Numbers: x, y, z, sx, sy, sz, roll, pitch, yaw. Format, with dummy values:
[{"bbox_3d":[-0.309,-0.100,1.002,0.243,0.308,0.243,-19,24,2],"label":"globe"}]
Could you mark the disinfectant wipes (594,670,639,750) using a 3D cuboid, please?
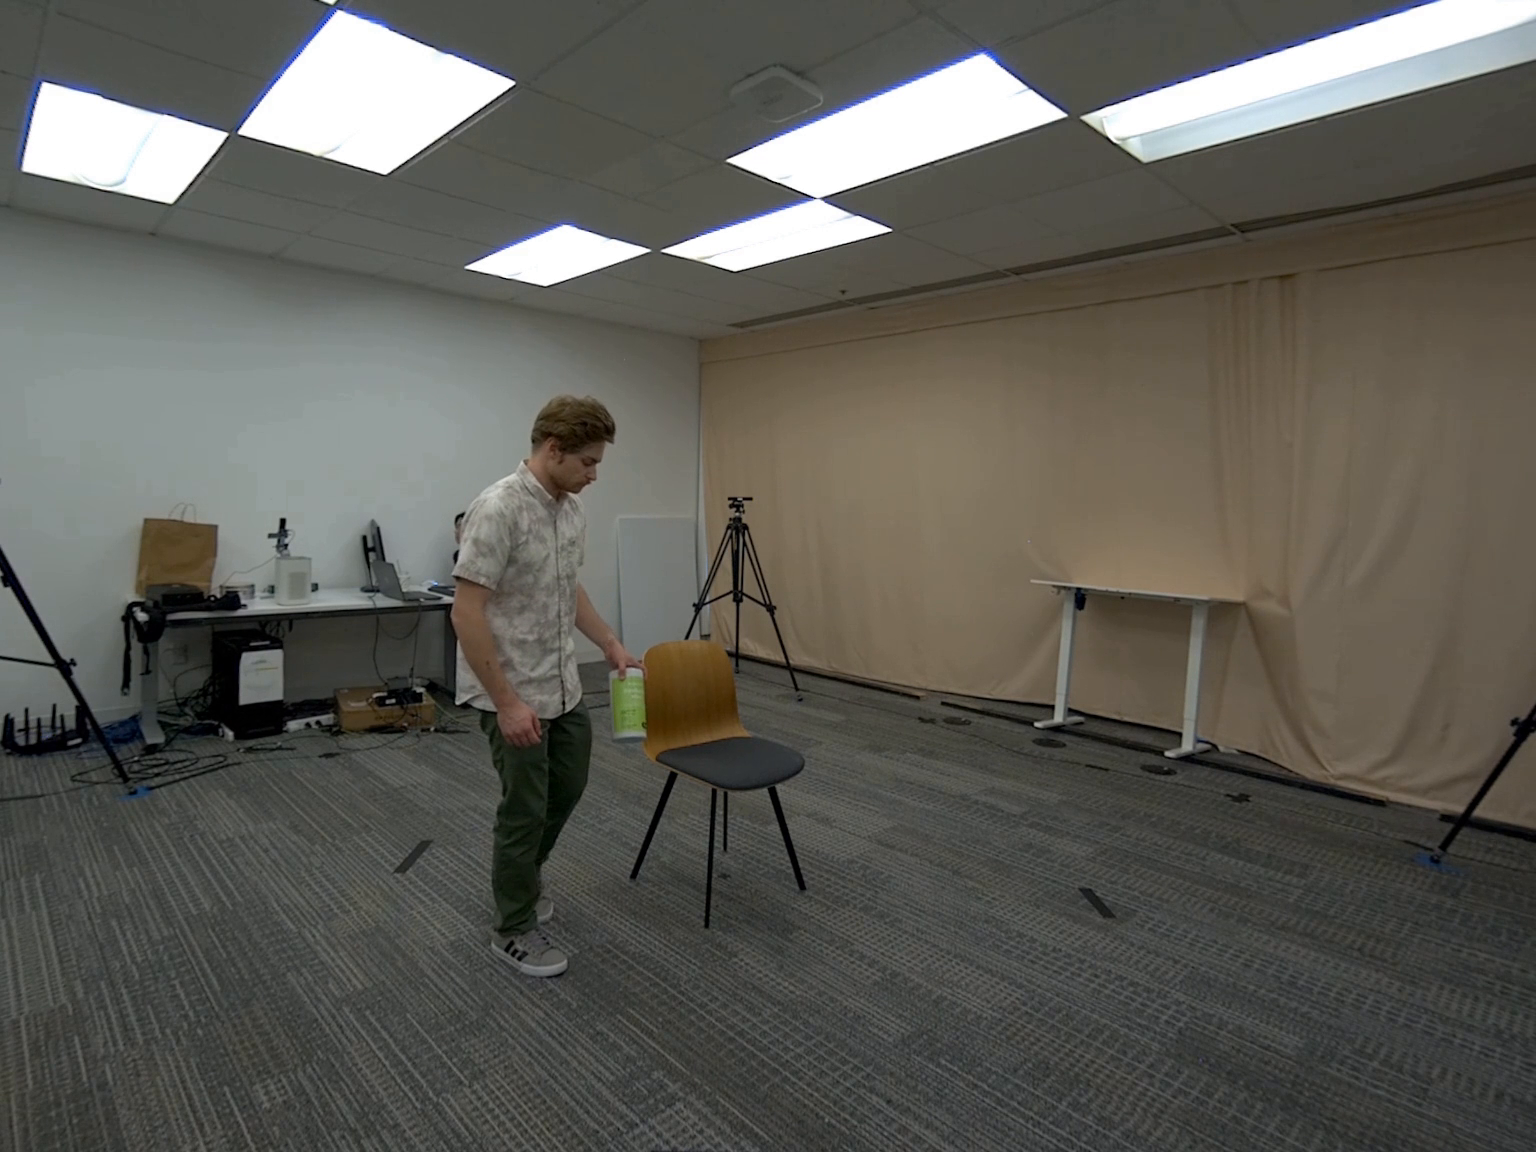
[{"bbox_3d":[-0.464,0.408,2.591,0.117,0.221,0.116,-3,-19,-2],"label":"disinfectant wipes"}]
